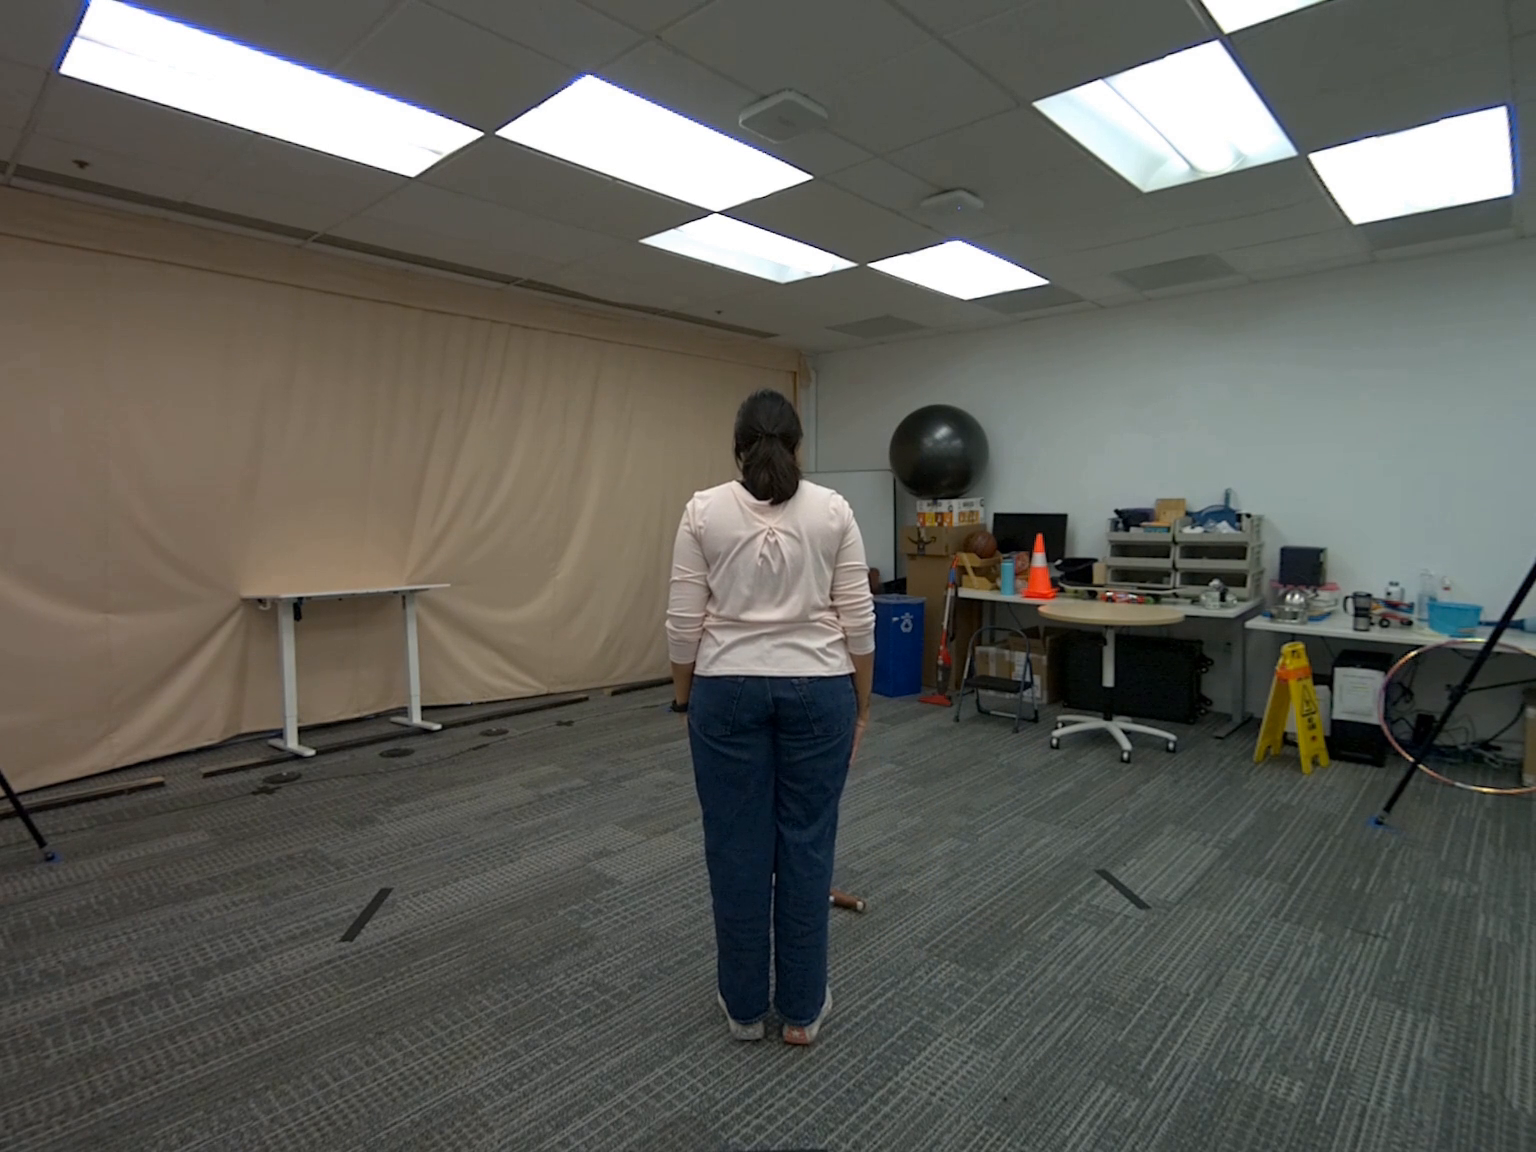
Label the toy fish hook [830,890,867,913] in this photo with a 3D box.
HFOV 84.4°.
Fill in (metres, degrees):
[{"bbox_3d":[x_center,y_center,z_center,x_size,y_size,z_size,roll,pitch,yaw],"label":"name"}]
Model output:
[{"bbox_3d":[0.161,1.113,3.074,0.523,0.048,0.218,4,8,39],"label":"toy fish hook"}]
